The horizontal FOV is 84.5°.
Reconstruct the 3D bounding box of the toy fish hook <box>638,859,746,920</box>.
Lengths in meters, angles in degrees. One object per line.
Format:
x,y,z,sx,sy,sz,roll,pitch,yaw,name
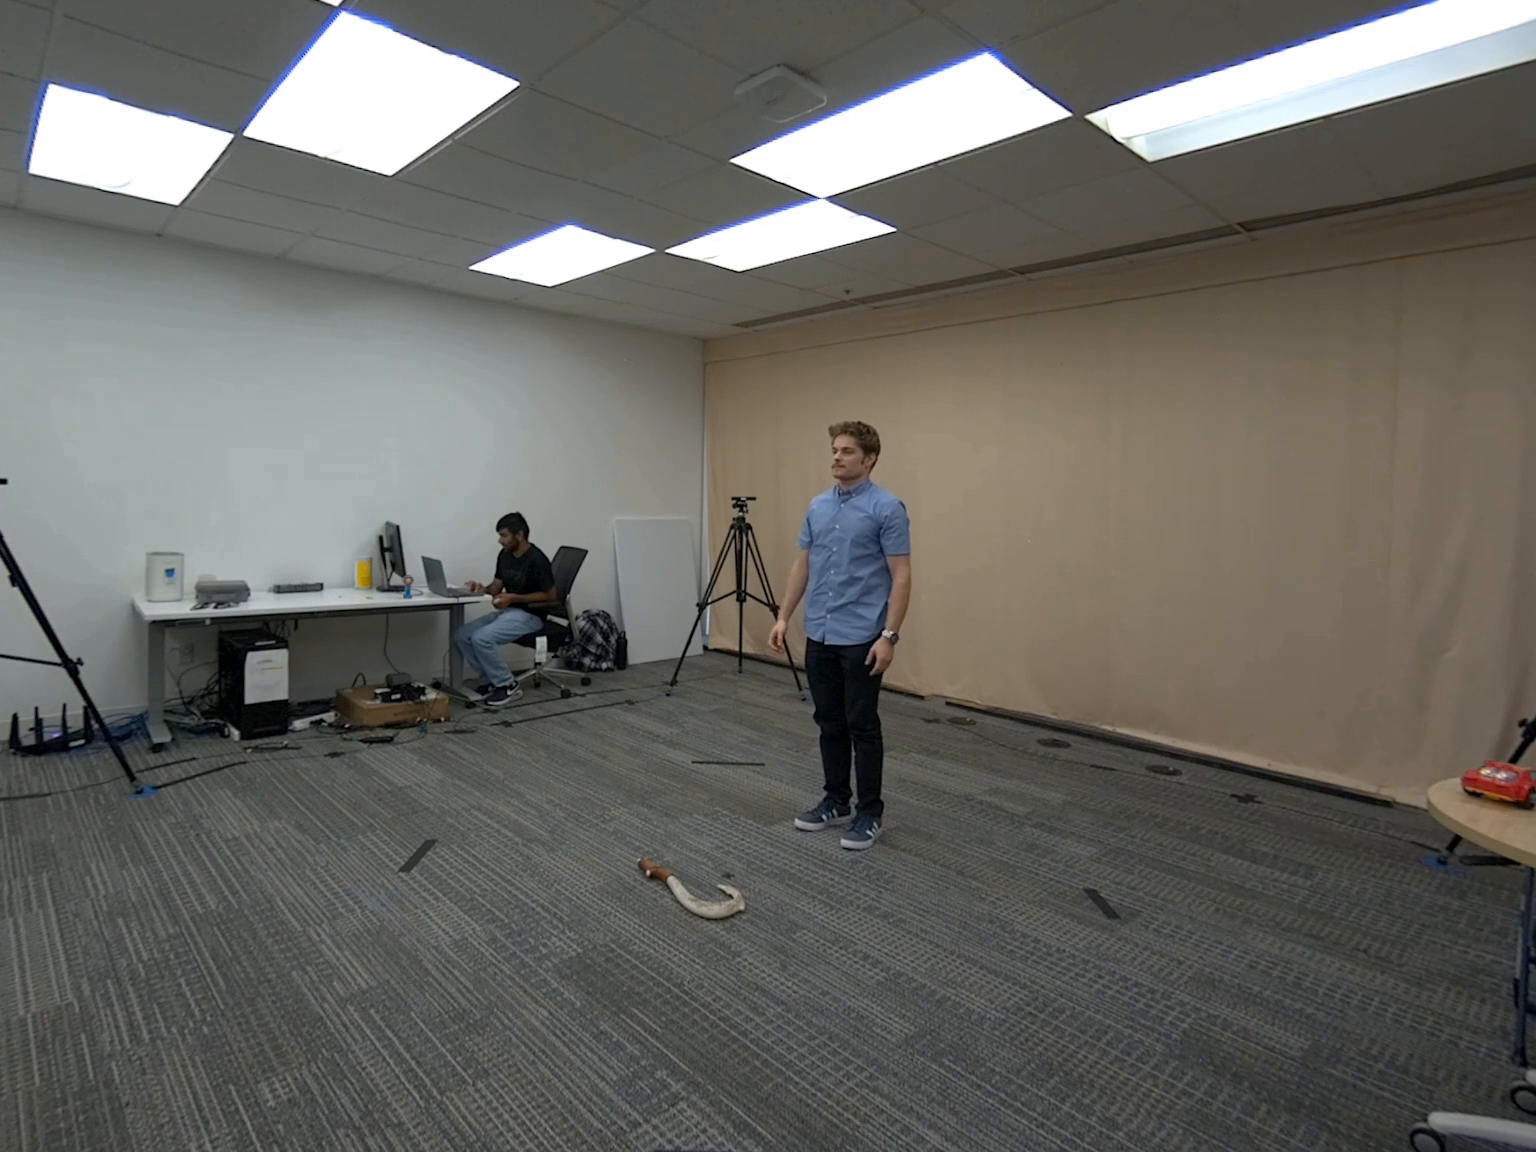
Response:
-0.284,1.100,2.996,0.219,0.048,0.520,7,1,-40,toy fish hook
